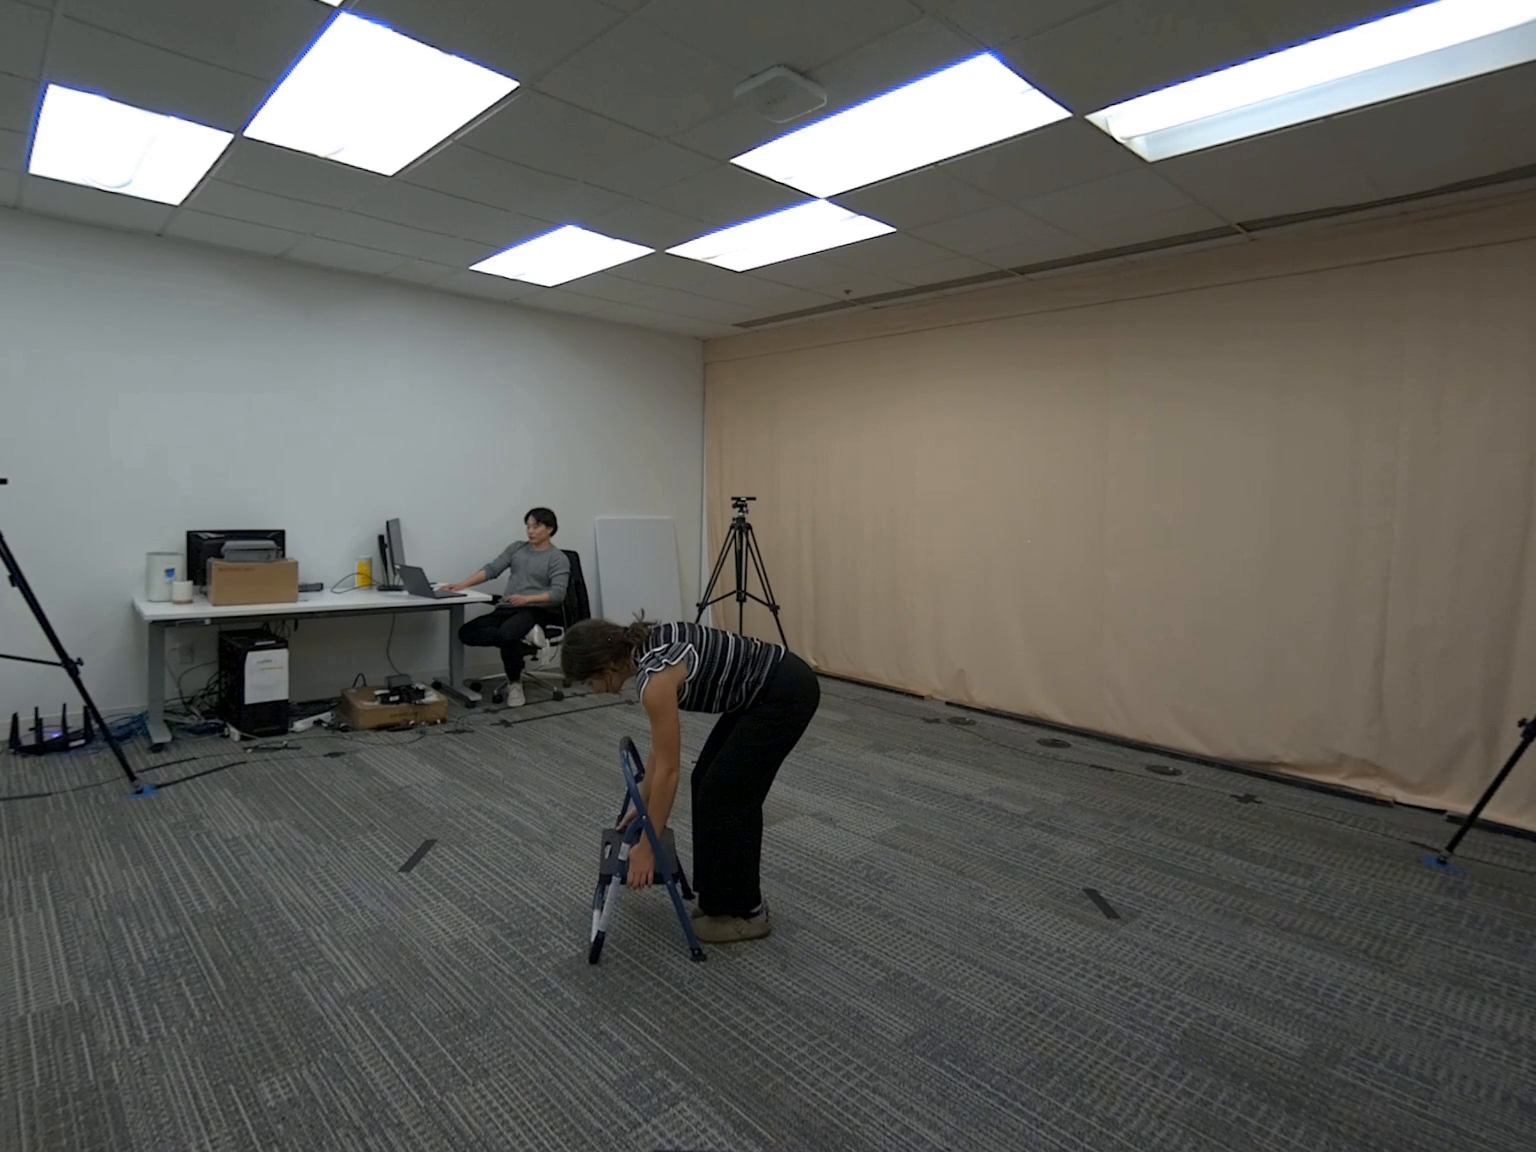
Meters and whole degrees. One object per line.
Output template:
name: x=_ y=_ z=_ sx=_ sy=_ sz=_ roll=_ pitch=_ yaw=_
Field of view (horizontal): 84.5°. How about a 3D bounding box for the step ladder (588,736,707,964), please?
step ladder: x=-0.394 y=0.837 z=2.702 sx=0.347 sy=0.605 sz=0.435 roll=1 pitch=3 yaw=-9
